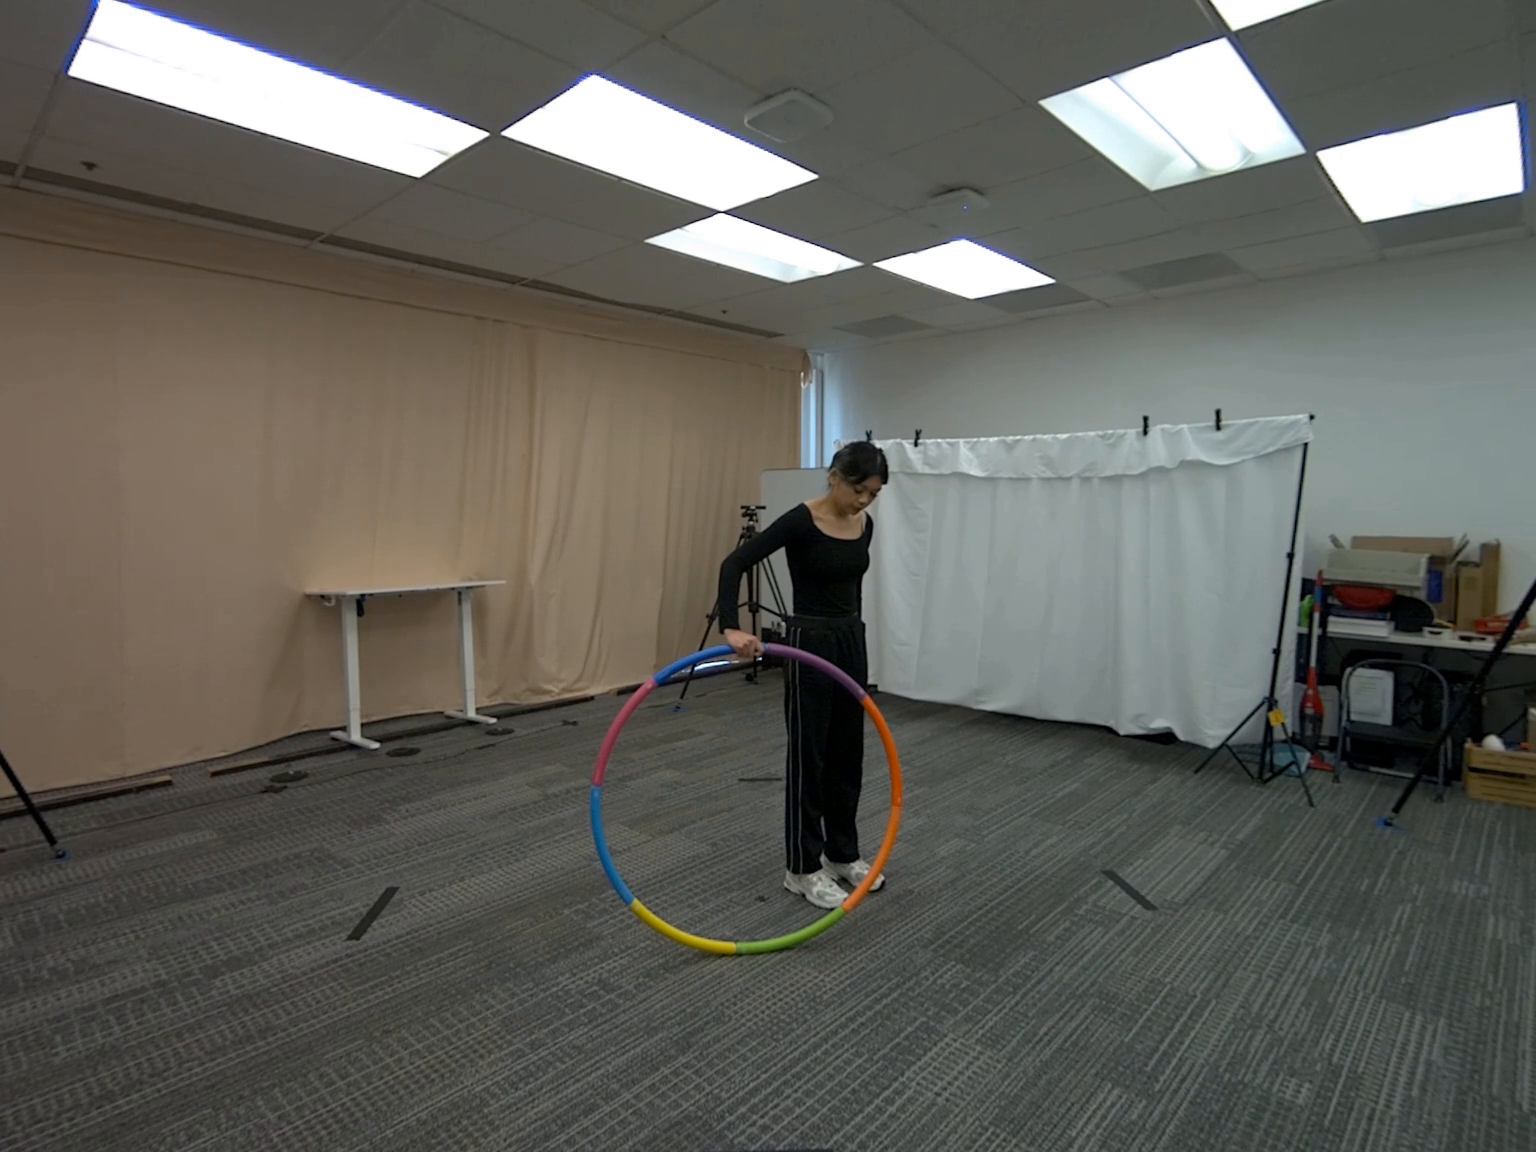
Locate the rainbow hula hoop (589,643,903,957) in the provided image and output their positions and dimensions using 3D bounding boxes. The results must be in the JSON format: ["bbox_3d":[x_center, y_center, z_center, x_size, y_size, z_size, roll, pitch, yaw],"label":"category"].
[{"bbox_3d":[-0.050,0.688,2.654,0.969,0.982,0.036,-1,-5,-9],"label":"rainbow hula hoop"}]
